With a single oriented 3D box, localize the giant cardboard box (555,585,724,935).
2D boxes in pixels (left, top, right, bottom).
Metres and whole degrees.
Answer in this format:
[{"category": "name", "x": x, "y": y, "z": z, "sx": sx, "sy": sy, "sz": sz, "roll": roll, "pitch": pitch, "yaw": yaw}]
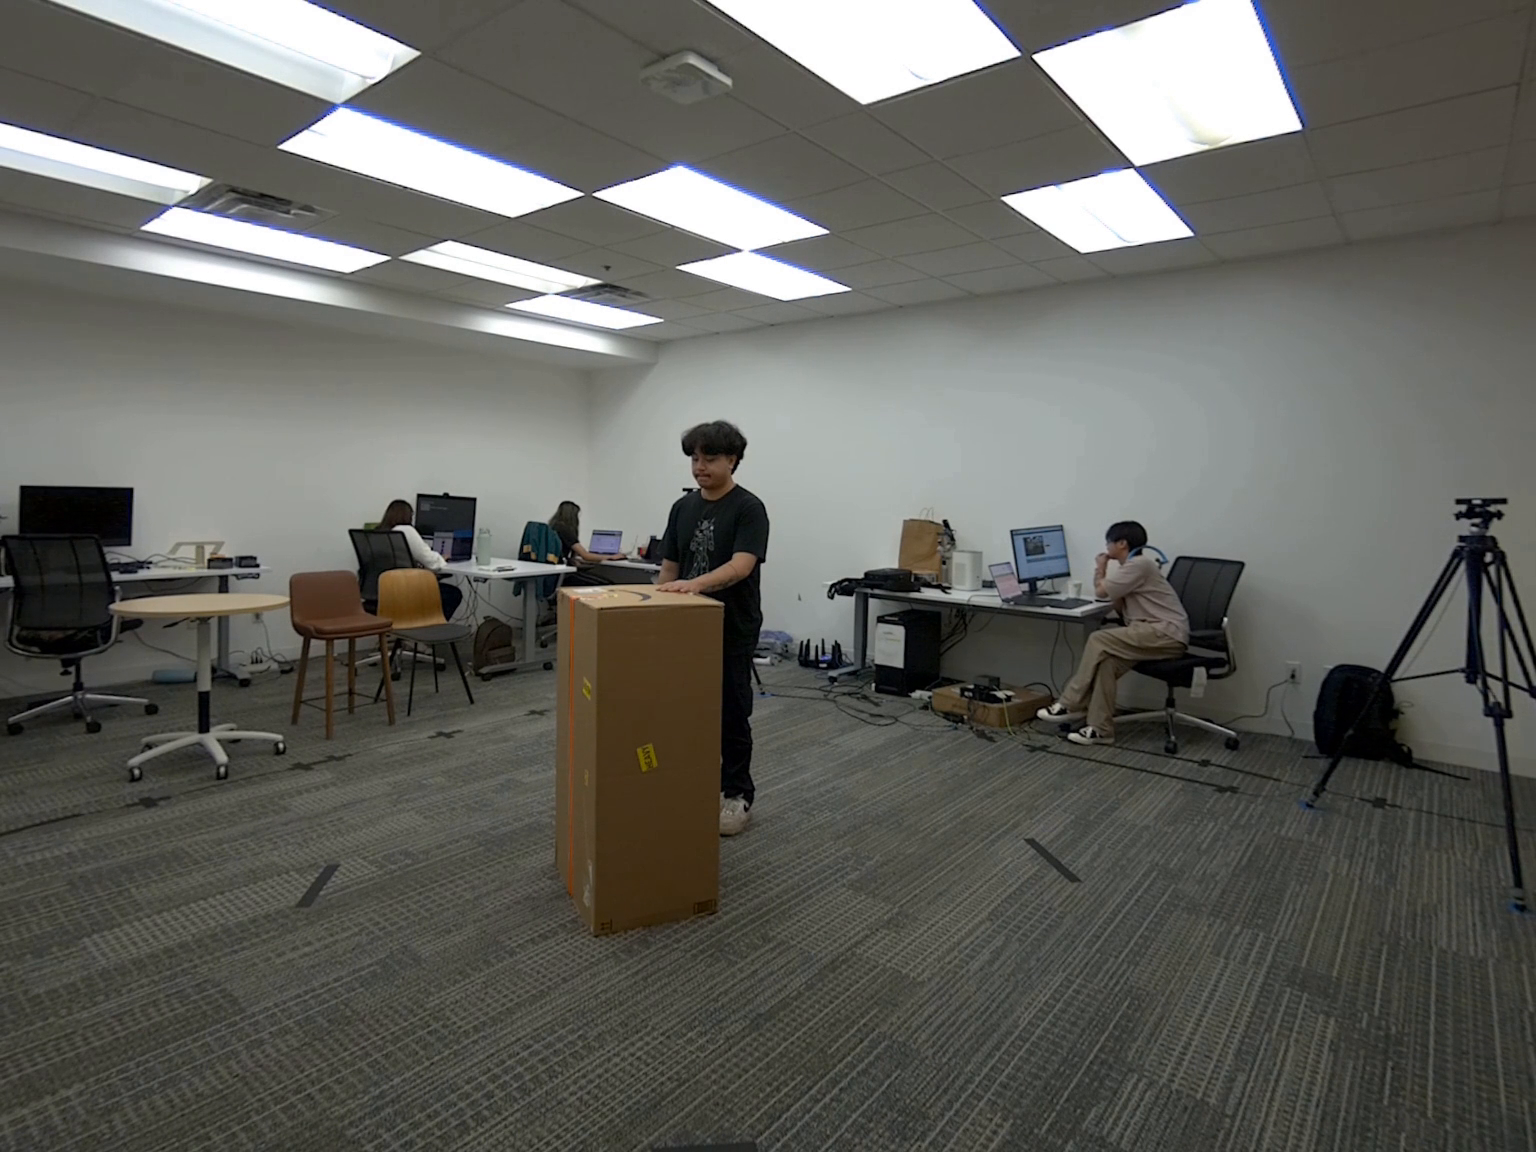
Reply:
[{"category": "giant cardboard box", "x": -0.478, "y": 0.570, "z": 2.940, "sx": 0.436, "sy": 1.024, "sz": 0.599, "roll": -1, "pitch": 4, "yaw": -25}]
